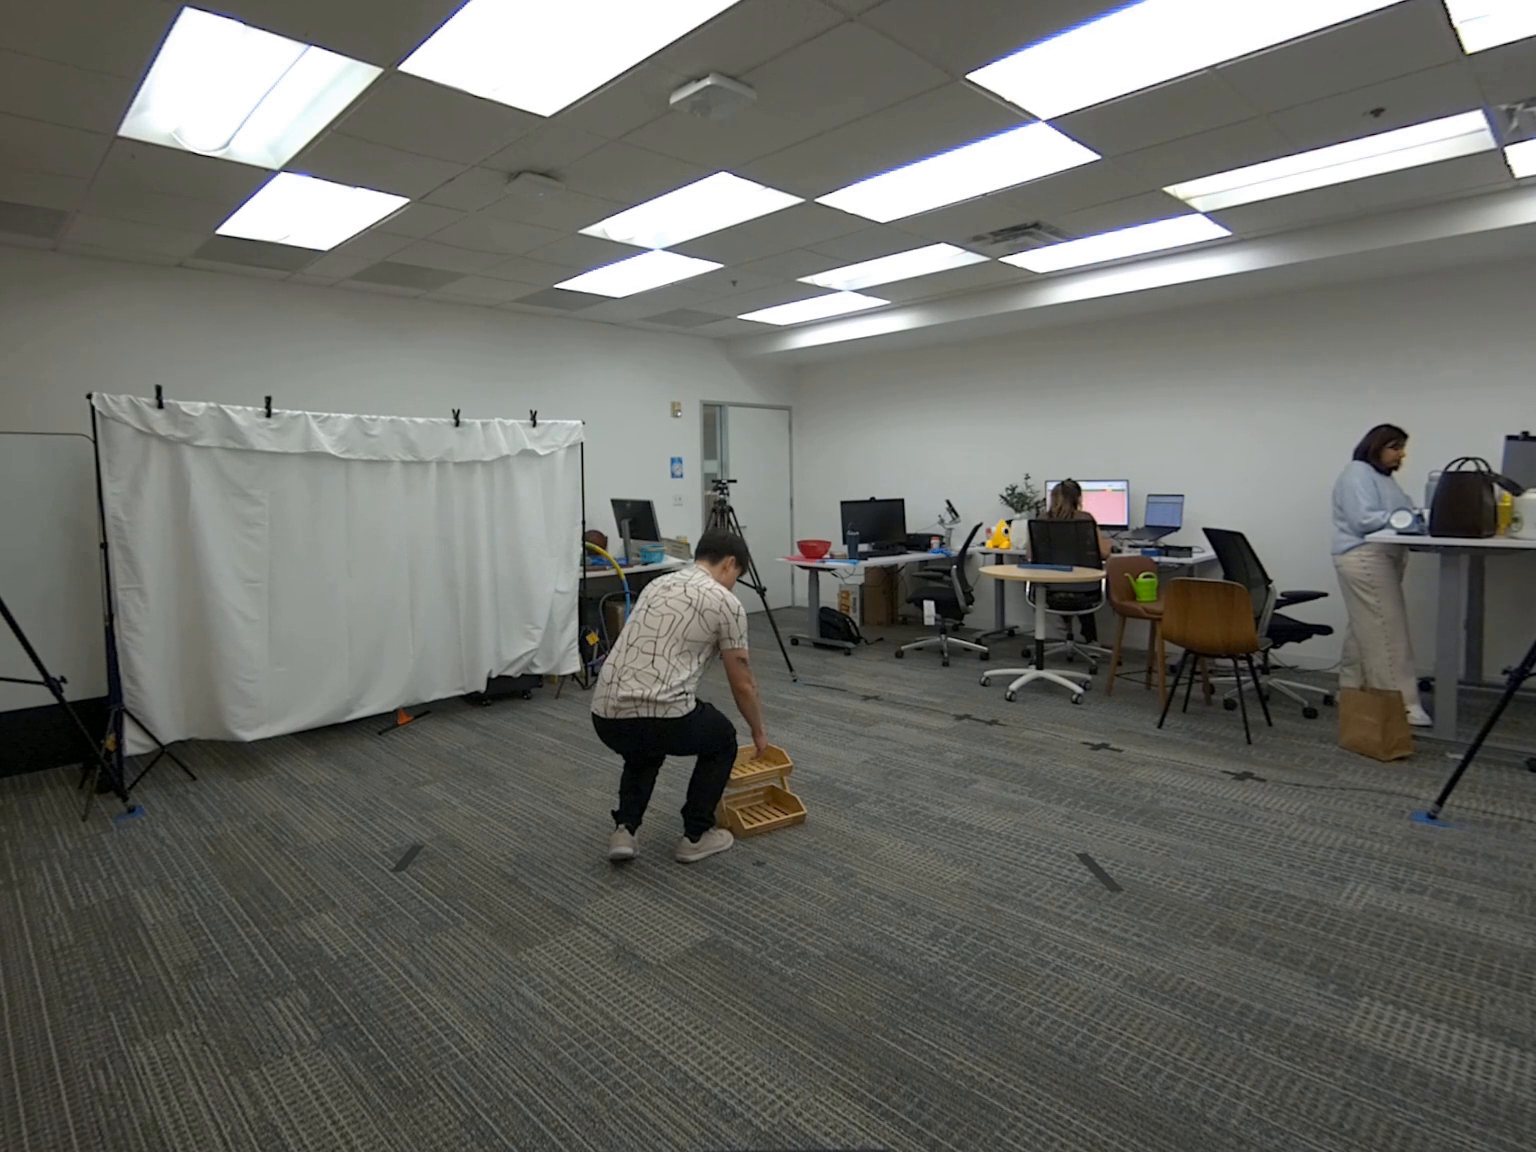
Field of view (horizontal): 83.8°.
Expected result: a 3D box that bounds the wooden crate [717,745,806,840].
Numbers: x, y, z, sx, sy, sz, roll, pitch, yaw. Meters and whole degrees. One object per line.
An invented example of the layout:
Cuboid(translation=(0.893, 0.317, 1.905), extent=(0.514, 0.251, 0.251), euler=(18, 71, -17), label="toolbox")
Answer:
Cuboid(translation=(-0.052, 0.864, 3.511), extent=(0.316, 0.272, 0.310), euler=(-5, 6, -33), label="wooden crate")
